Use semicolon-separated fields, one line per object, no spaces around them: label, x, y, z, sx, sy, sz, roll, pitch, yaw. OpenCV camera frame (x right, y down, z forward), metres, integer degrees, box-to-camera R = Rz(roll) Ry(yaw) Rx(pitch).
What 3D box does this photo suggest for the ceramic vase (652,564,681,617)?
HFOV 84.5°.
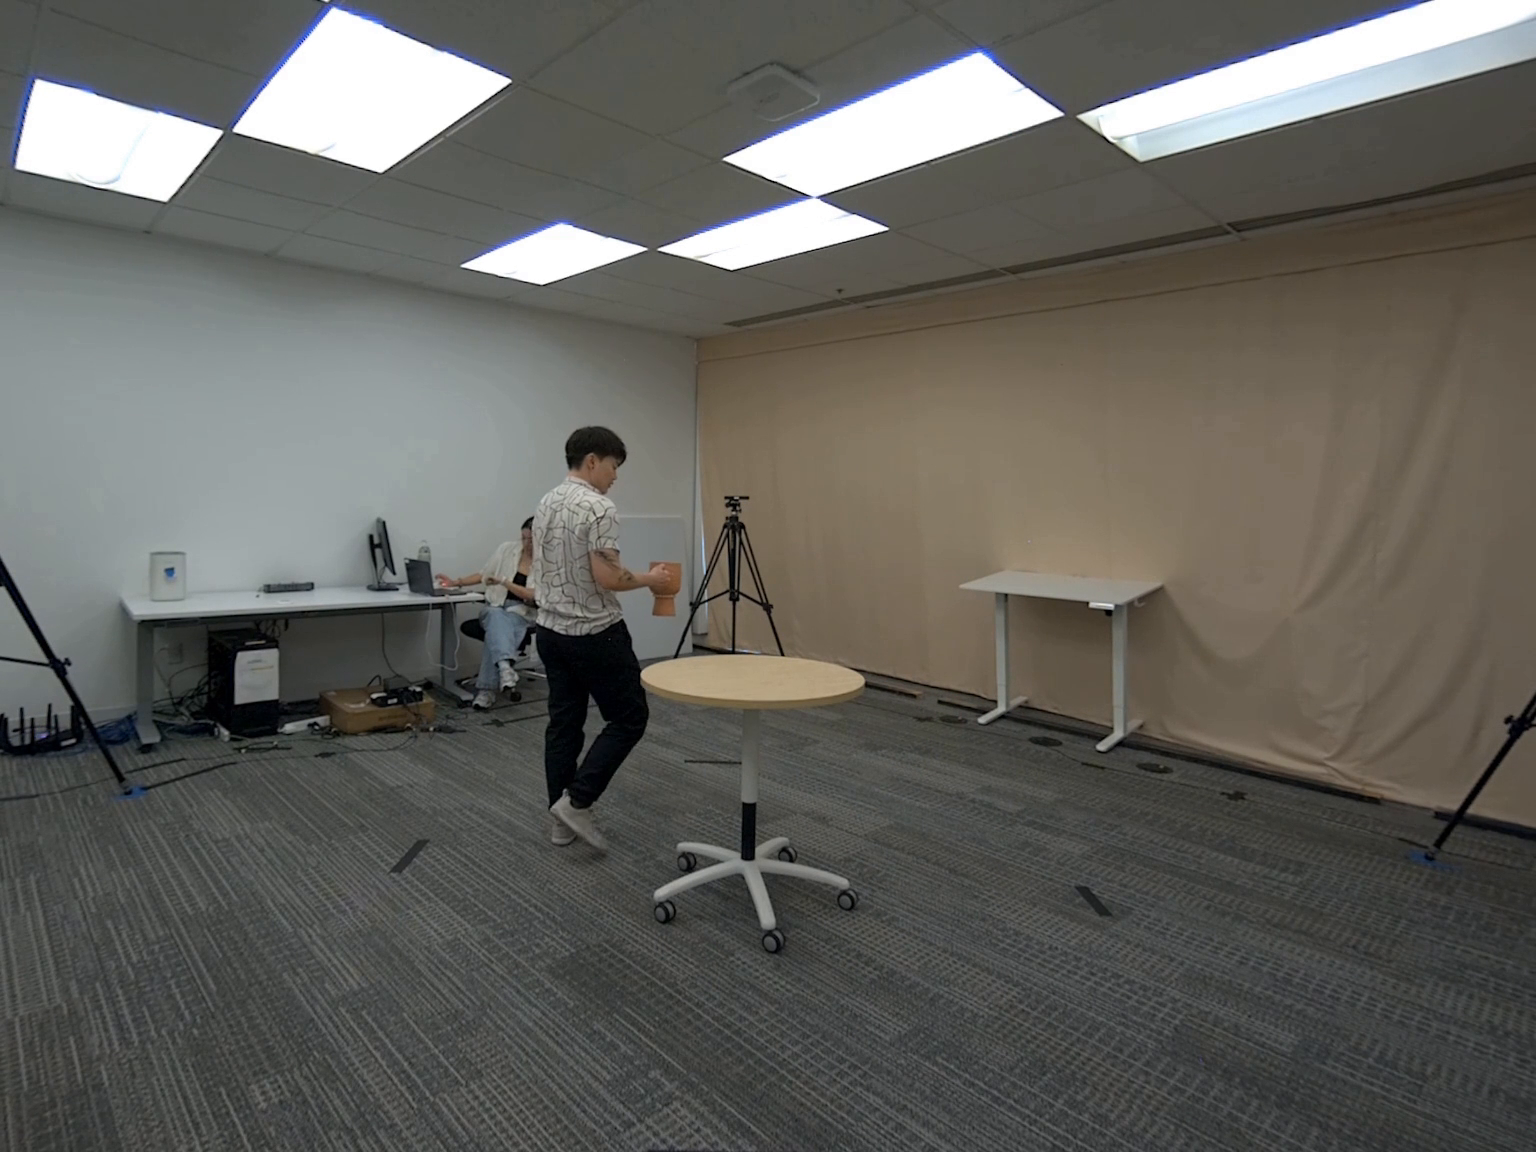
ceramic vase;-0.446;0.050;3.505;0.138;0.220;0.155;1;-4;44
